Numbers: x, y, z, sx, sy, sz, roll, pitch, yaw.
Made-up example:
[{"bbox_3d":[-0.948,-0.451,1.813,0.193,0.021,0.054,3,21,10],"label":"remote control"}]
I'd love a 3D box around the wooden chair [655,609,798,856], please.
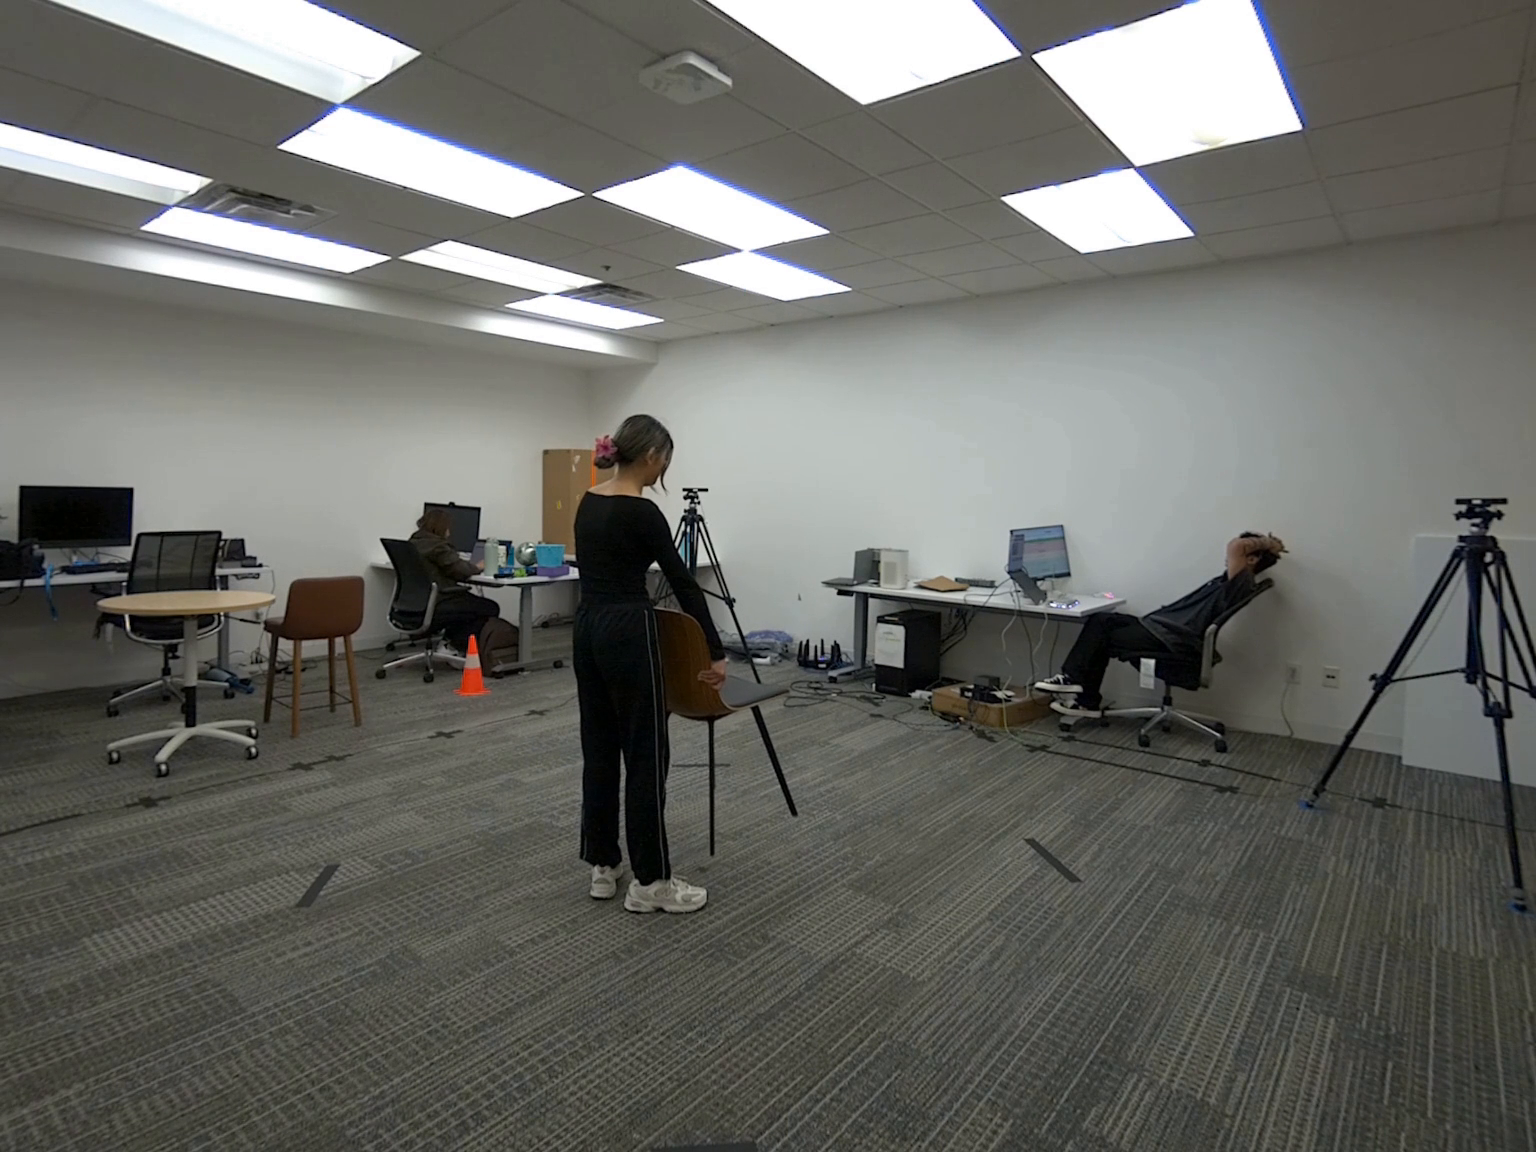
[{"bbox_3d":[-0.225,0.487,3.167,0.494,0.871,0.510,2,10,43],"label":"wooden chair"}]
